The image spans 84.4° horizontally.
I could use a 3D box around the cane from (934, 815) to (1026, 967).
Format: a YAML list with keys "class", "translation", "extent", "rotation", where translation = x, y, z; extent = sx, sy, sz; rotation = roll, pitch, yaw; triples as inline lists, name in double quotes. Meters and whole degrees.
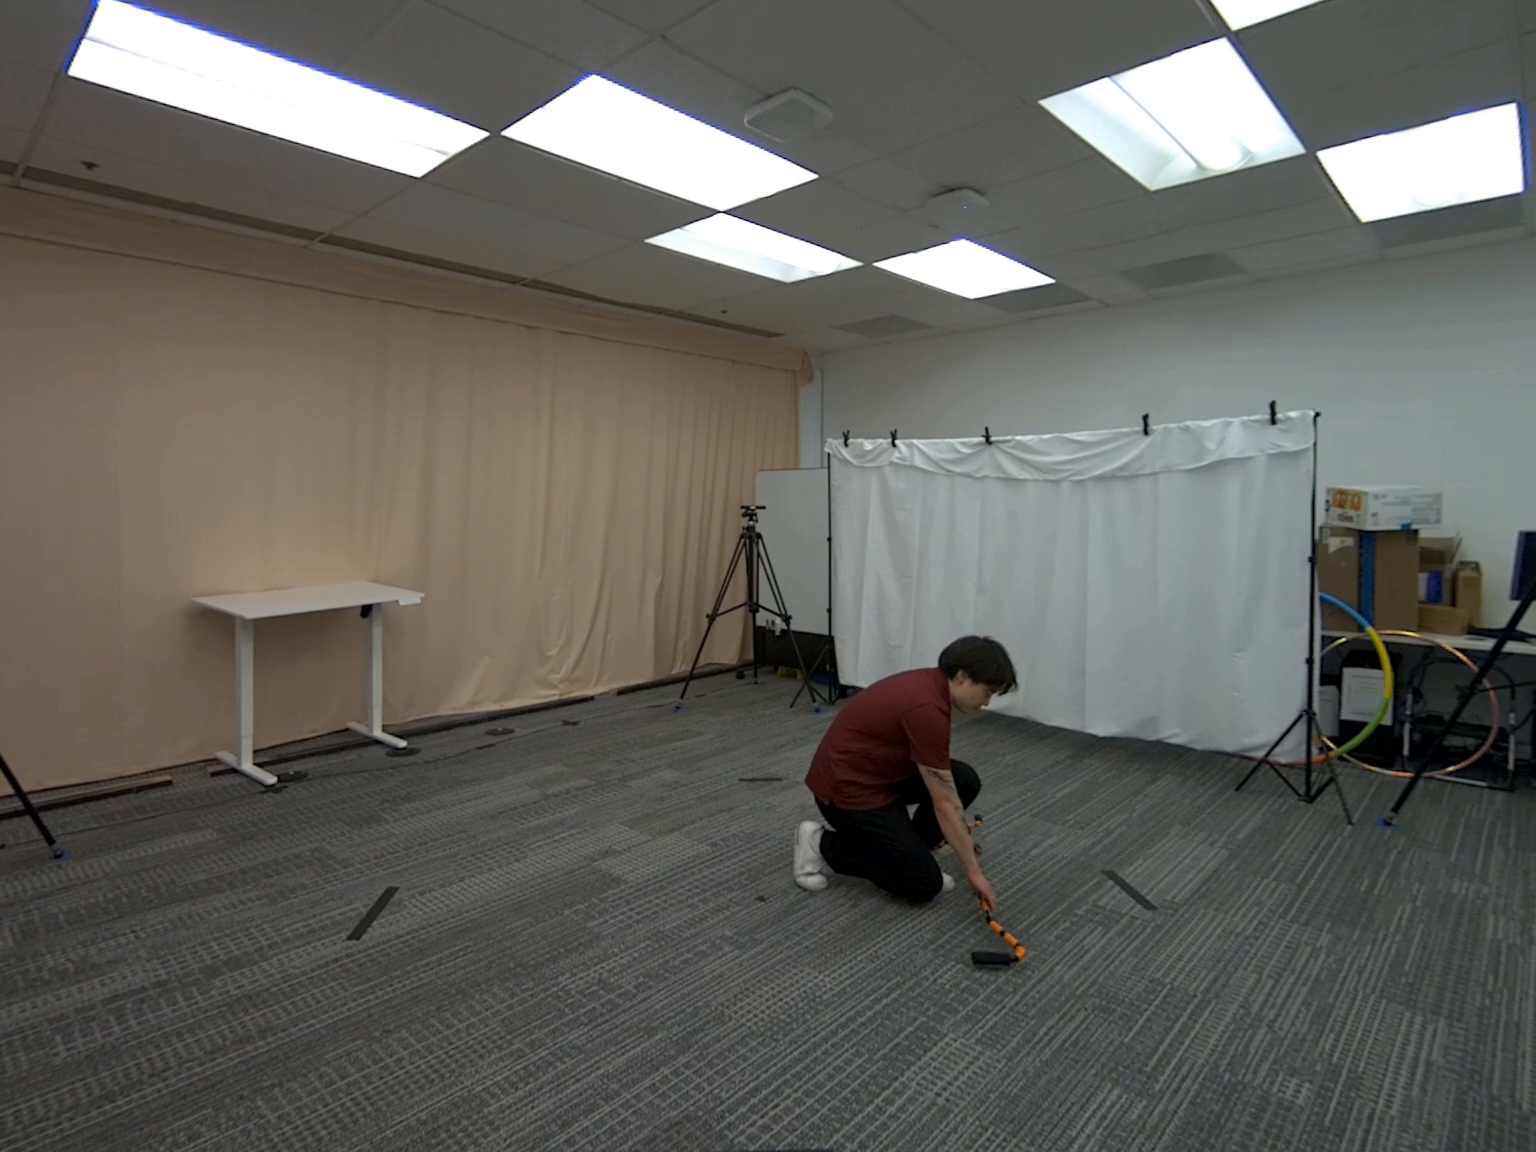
- class: "cane"
  translation: [0.754, 1.074, 2.955]
  extent: [0.207, 0.151, 0.908]
  rotation: [1, 7, 2]
